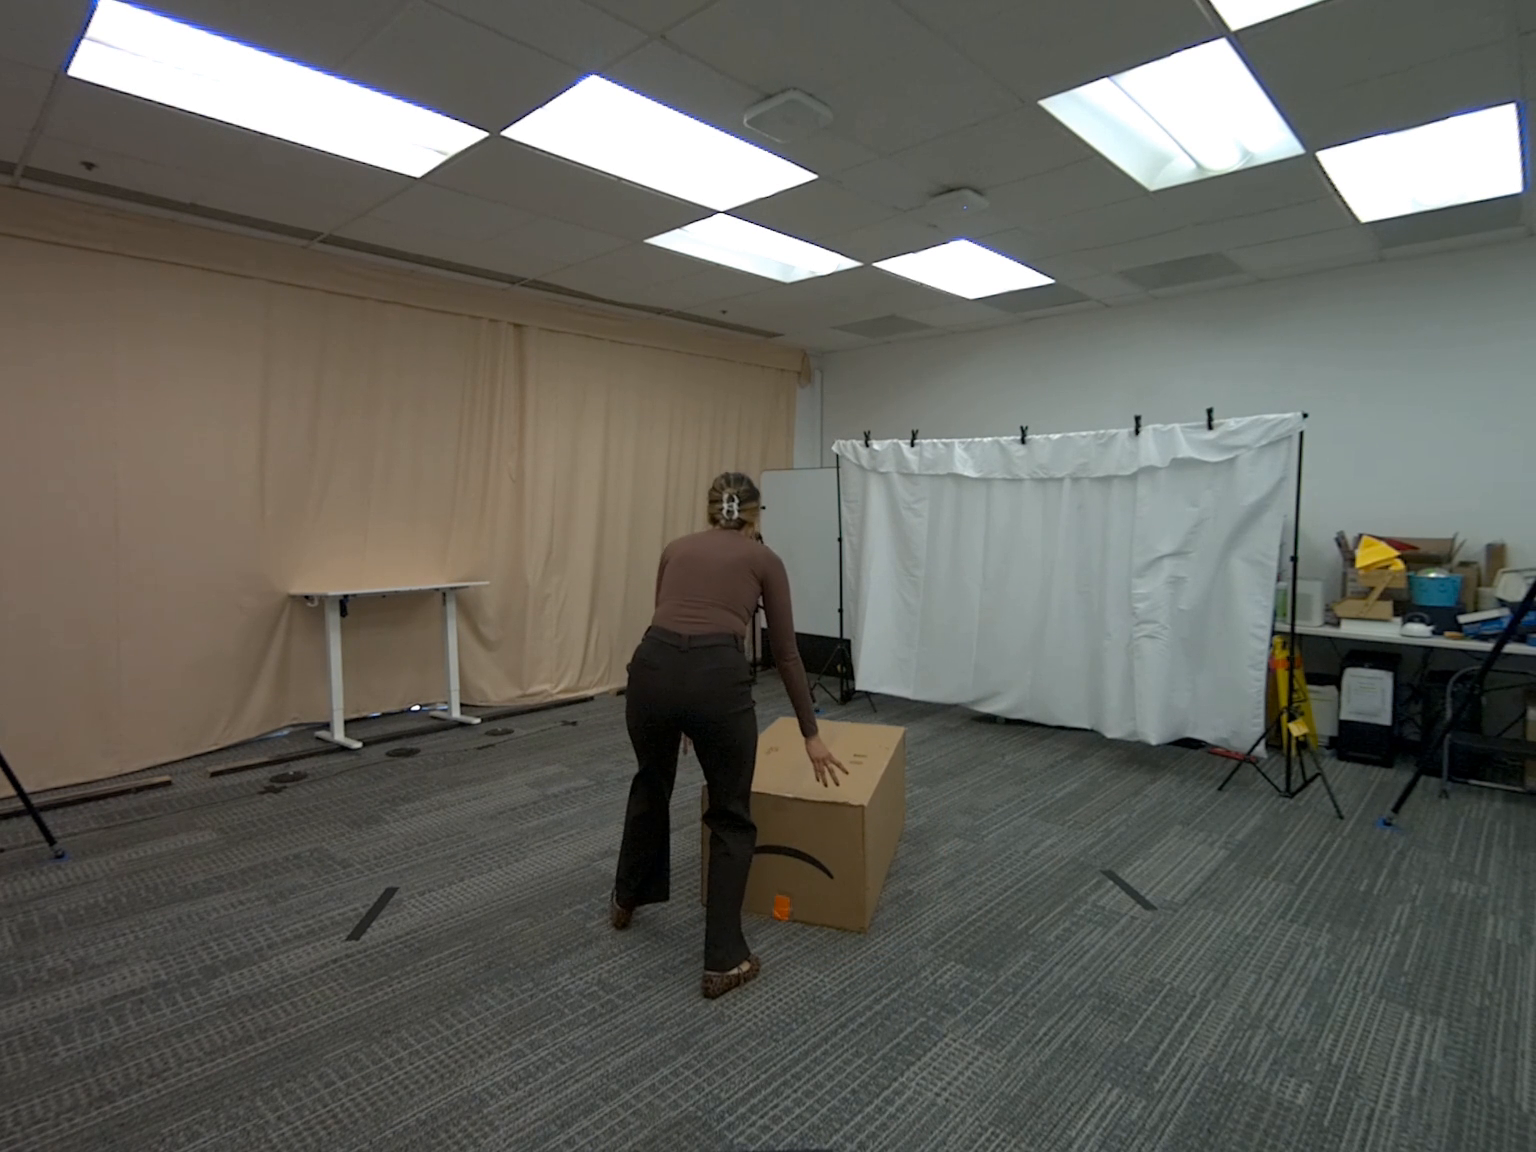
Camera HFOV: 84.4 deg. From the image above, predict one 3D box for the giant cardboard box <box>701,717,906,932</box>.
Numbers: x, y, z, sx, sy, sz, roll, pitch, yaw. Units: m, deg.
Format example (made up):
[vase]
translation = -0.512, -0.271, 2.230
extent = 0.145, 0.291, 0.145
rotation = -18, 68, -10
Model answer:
[giant cardboard box]
translation = 0.190, 0.904, 3.304
extent = 0.595, 0.446, 1.009
rotation = 0, 4, 18
